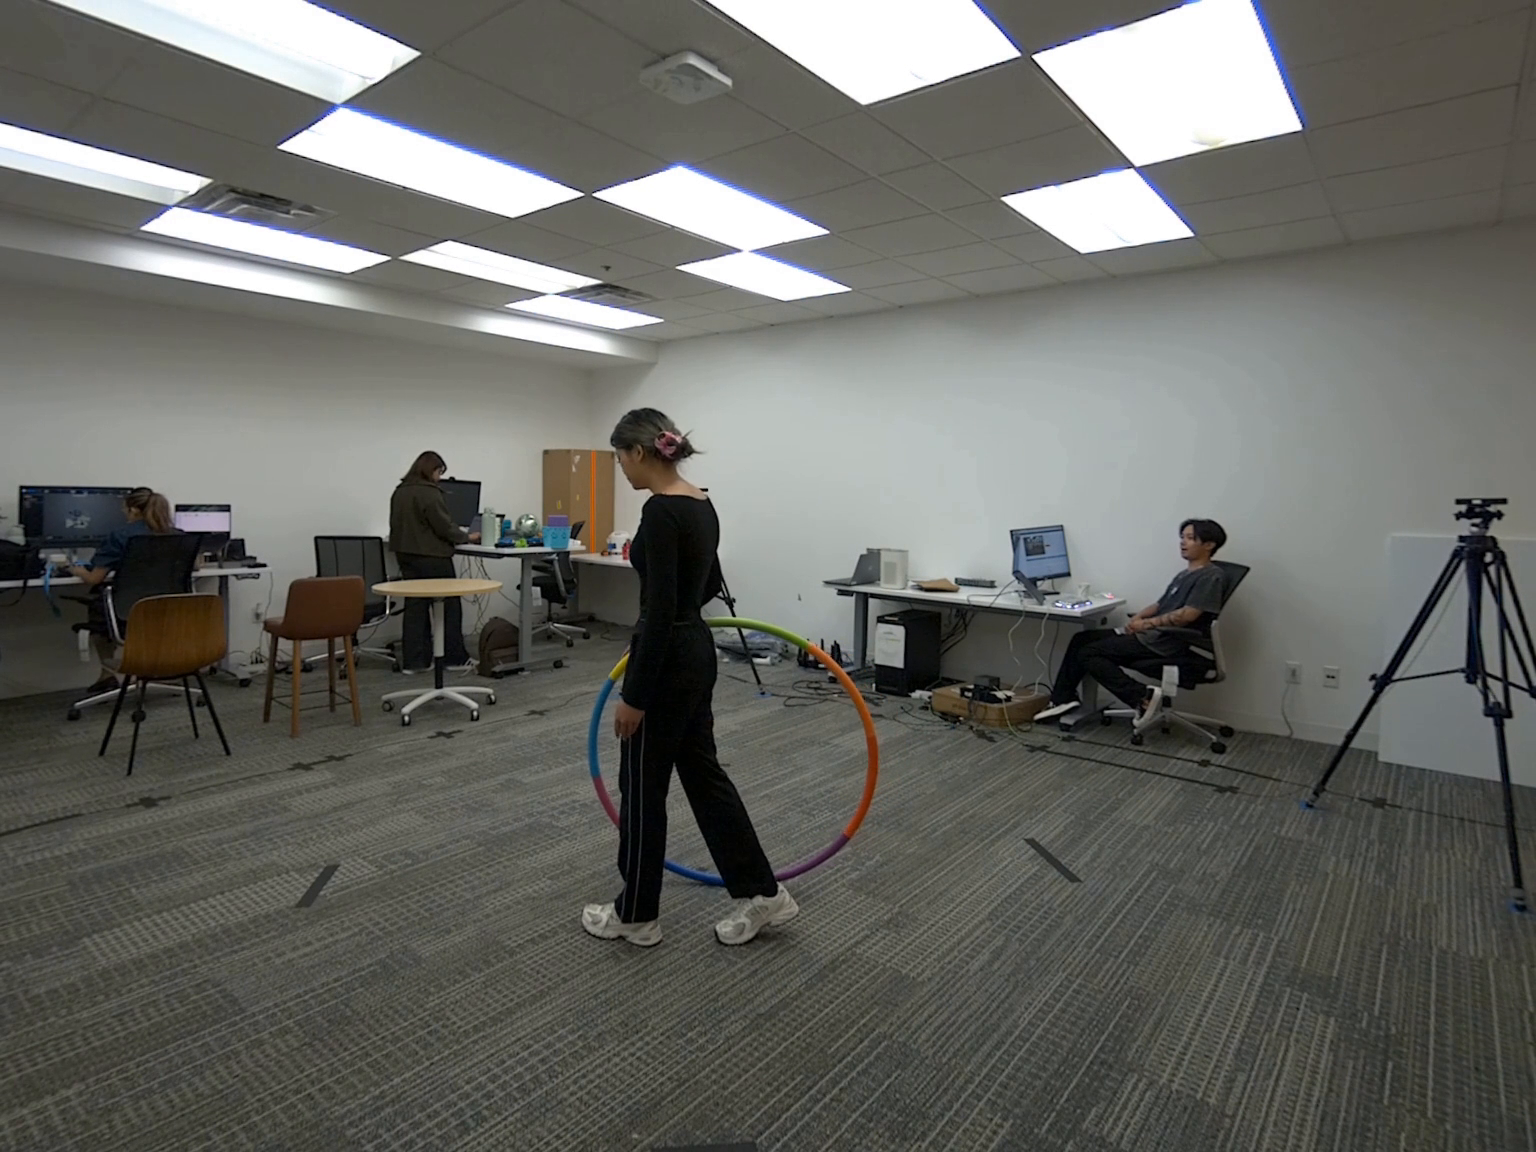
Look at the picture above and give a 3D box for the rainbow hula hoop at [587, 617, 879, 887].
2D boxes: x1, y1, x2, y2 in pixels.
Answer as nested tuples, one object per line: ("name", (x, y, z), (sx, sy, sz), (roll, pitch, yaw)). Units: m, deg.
("rainbow hula hoop", (-0.138, 0.616, 2.906), (0.986, 0.970, 0.035), (1, 9, 7))
